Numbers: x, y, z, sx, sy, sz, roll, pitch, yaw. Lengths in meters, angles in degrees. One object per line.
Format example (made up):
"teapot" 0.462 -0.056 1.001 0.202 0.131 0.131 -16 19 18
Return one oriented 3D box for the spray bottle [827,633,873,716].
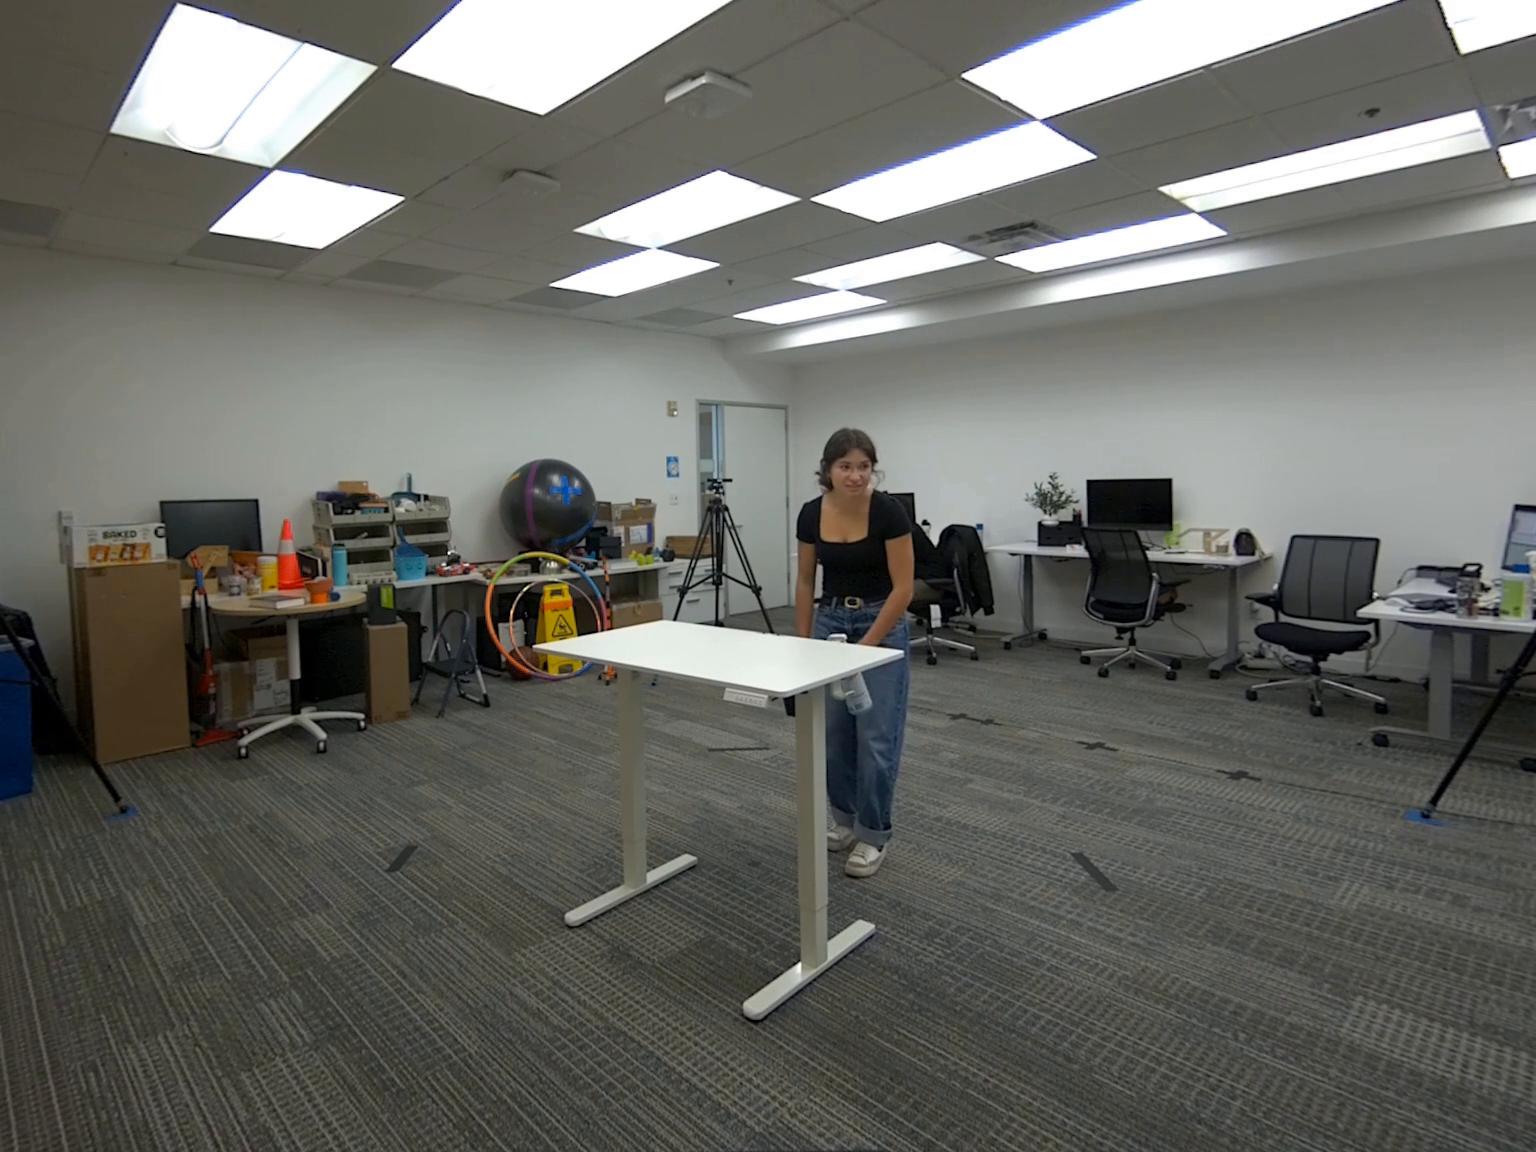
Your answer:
"spray bottle" 0.281 0.342 2.940 0.086 0.292 0.092 -21 16 -15
